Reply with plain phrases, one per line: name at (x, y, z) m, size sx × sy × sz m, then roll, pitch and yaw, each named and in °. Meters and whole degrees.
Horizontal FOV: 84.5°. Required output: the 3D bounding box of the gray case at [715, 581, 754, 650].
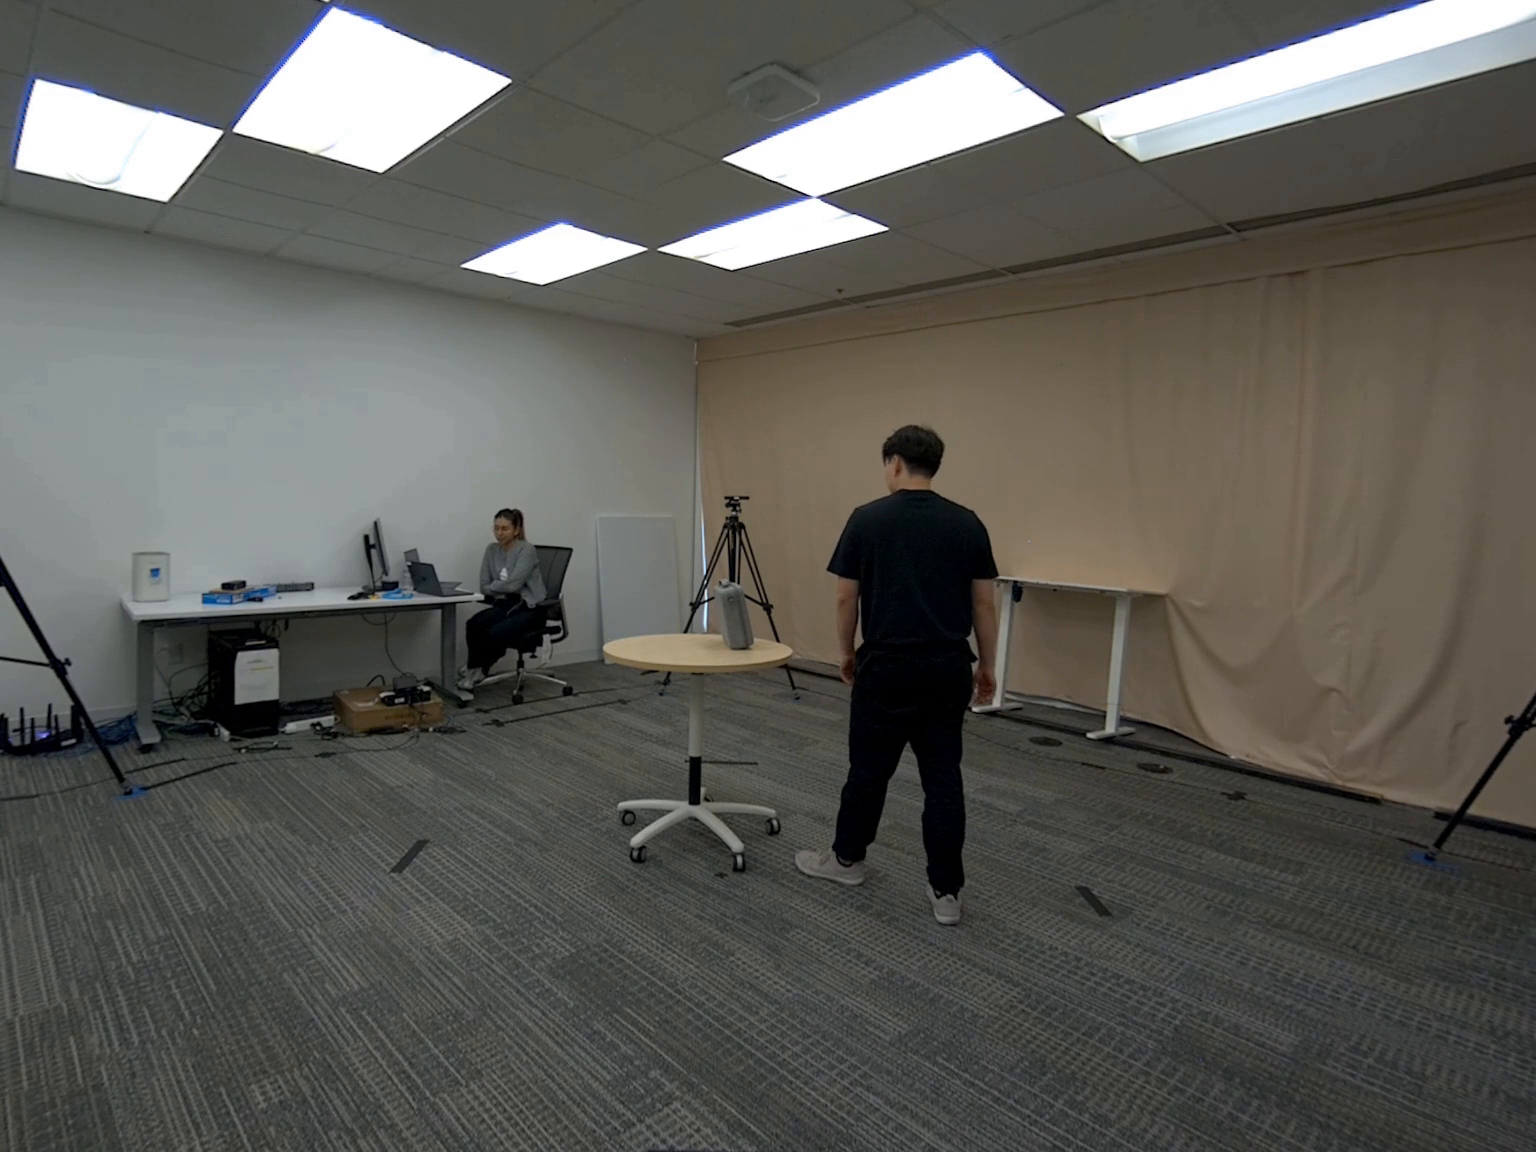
gray case at (-0.151, 0.158, 3.492) m, size 0.104 × 0.260 × 0.259 m, roll -8°, pitch 4°, yaw -7°
